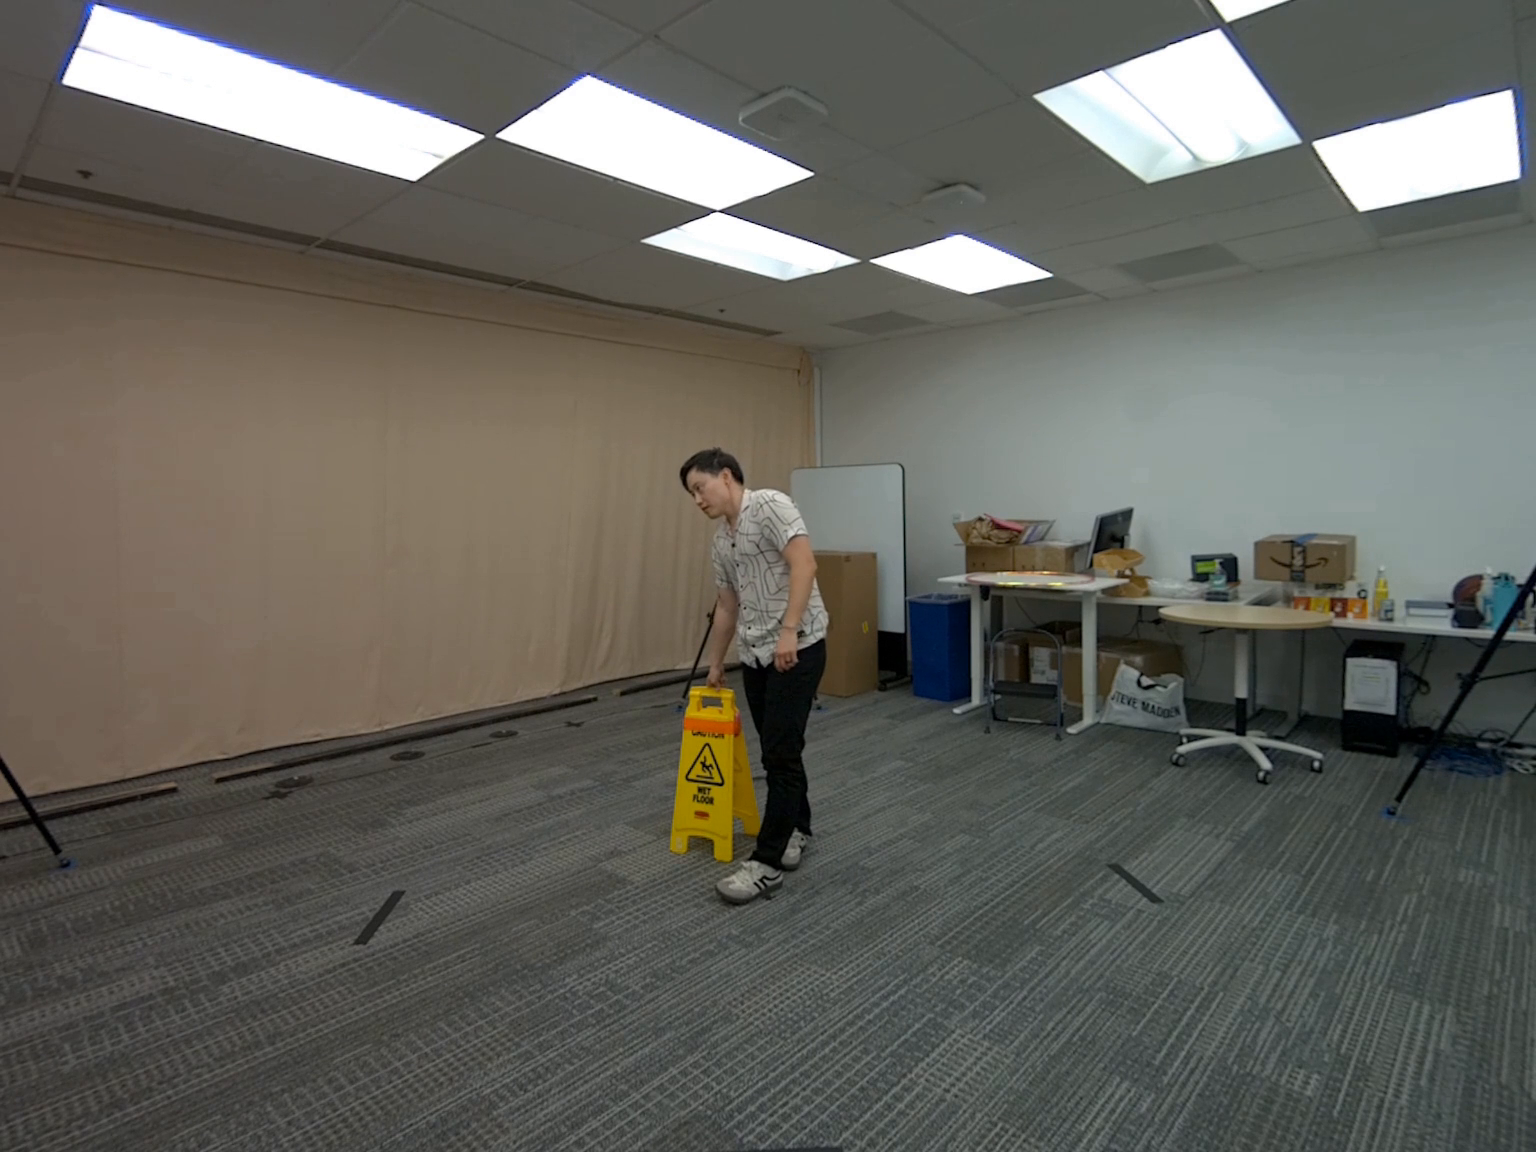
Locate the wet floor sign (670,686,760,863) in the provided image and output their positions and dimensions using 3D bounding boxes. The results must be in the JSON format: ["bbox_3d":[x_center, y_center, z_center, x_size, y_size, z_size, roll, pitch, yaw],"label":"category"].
[{"bbox_3d":[-0.221,0.780,3.456,0.289,0.644,0.283,0,4,25],"label":"wet floor sign"}]
